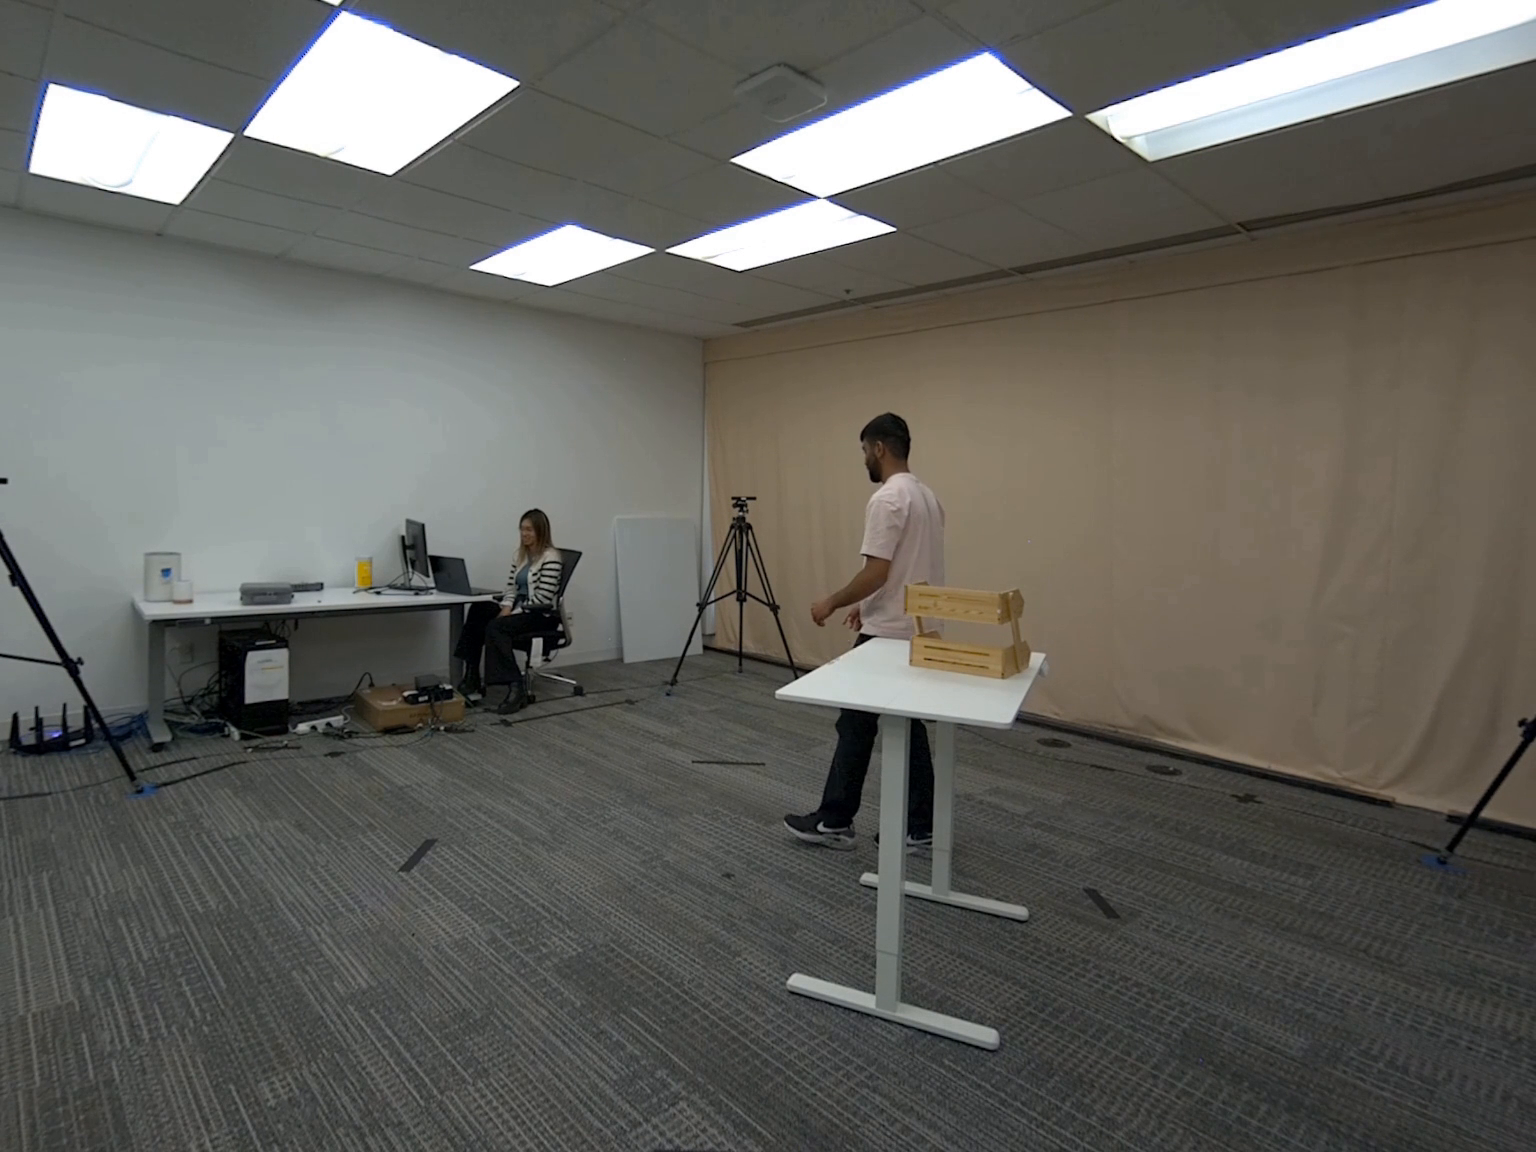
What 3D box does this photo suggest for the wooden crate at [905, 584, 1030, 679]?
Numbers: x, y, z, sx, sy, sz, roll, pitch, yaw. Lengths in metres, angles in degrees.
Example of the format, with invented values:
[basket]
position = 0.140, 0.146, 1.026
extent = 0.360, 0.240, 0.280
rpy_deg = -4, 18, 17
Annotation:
[wooden crate]
position = 0.618, 0.156, 2.620
extent = 0.332, 0.272, 0.296
rpy_deg = 4, 6, 35
